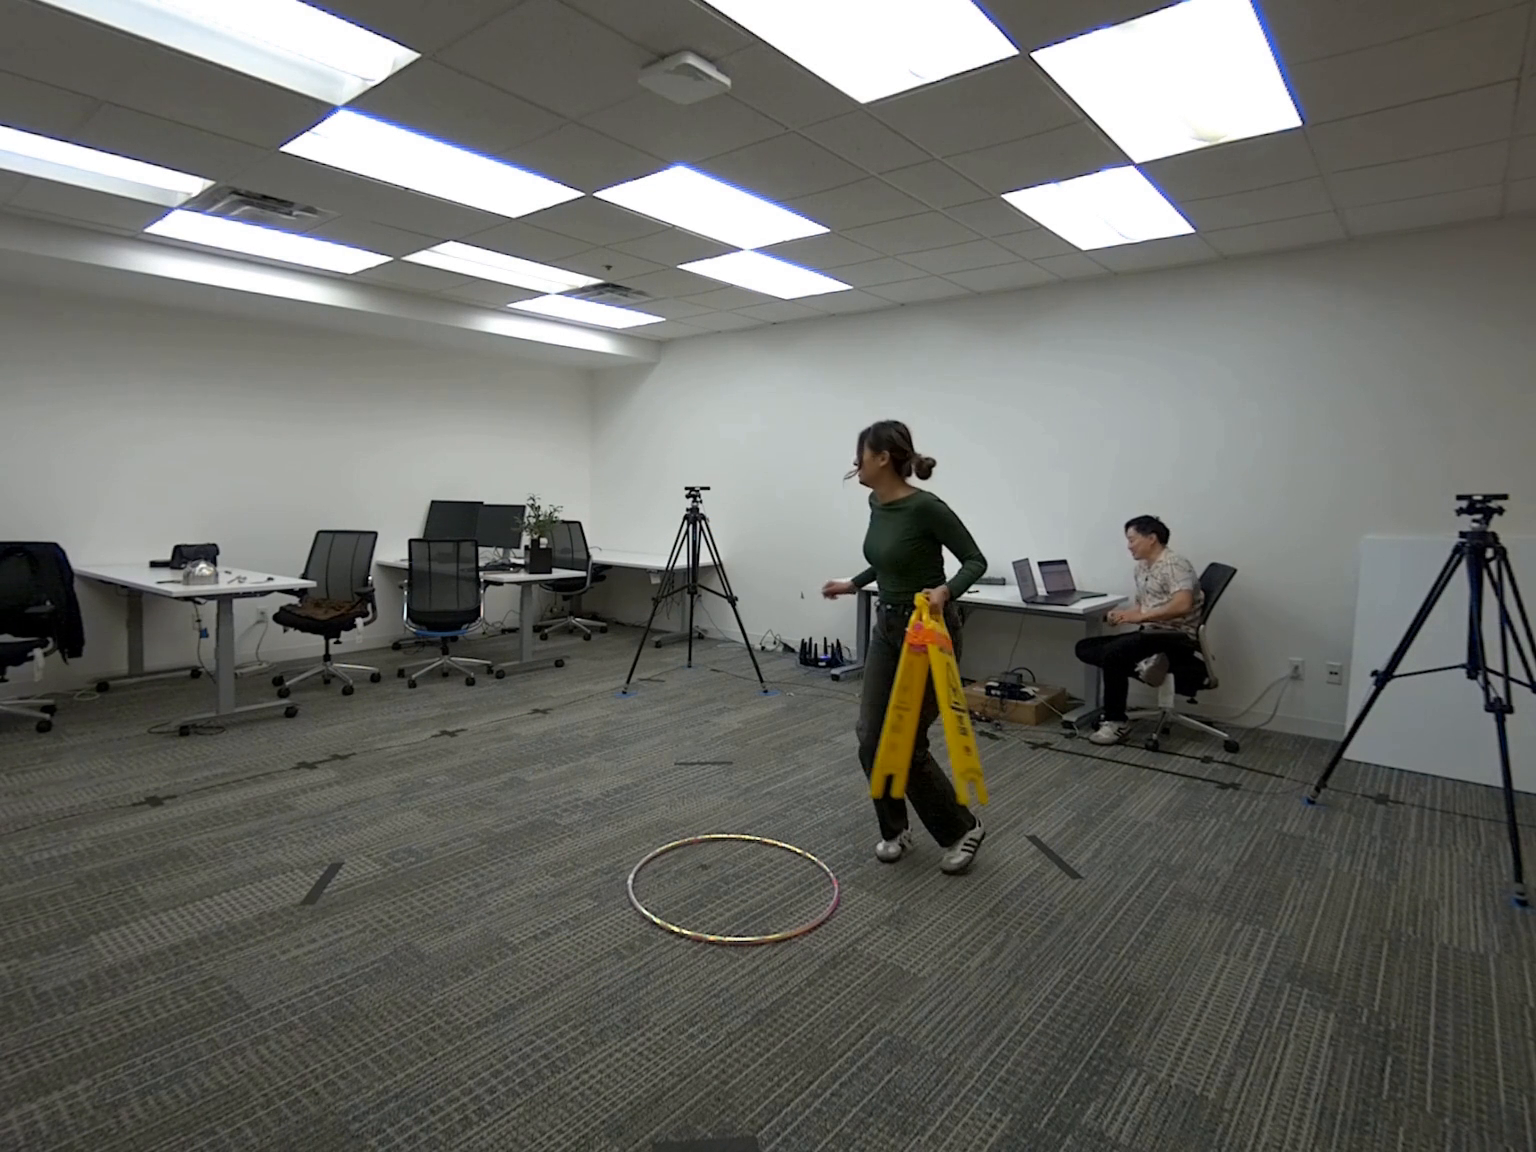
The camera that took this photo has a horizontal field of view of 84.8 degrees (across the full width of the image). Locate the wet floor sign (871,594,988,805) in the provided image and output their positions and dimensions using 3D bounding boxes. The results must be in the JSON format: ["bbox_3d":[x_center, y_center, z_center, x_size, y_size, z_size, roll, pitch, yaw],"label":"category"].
[{"bbox_3d":[0.509,0.382,2.754,0.297,0.655,0.271,-6,-17,29],"label":"wet floor sign"}]
